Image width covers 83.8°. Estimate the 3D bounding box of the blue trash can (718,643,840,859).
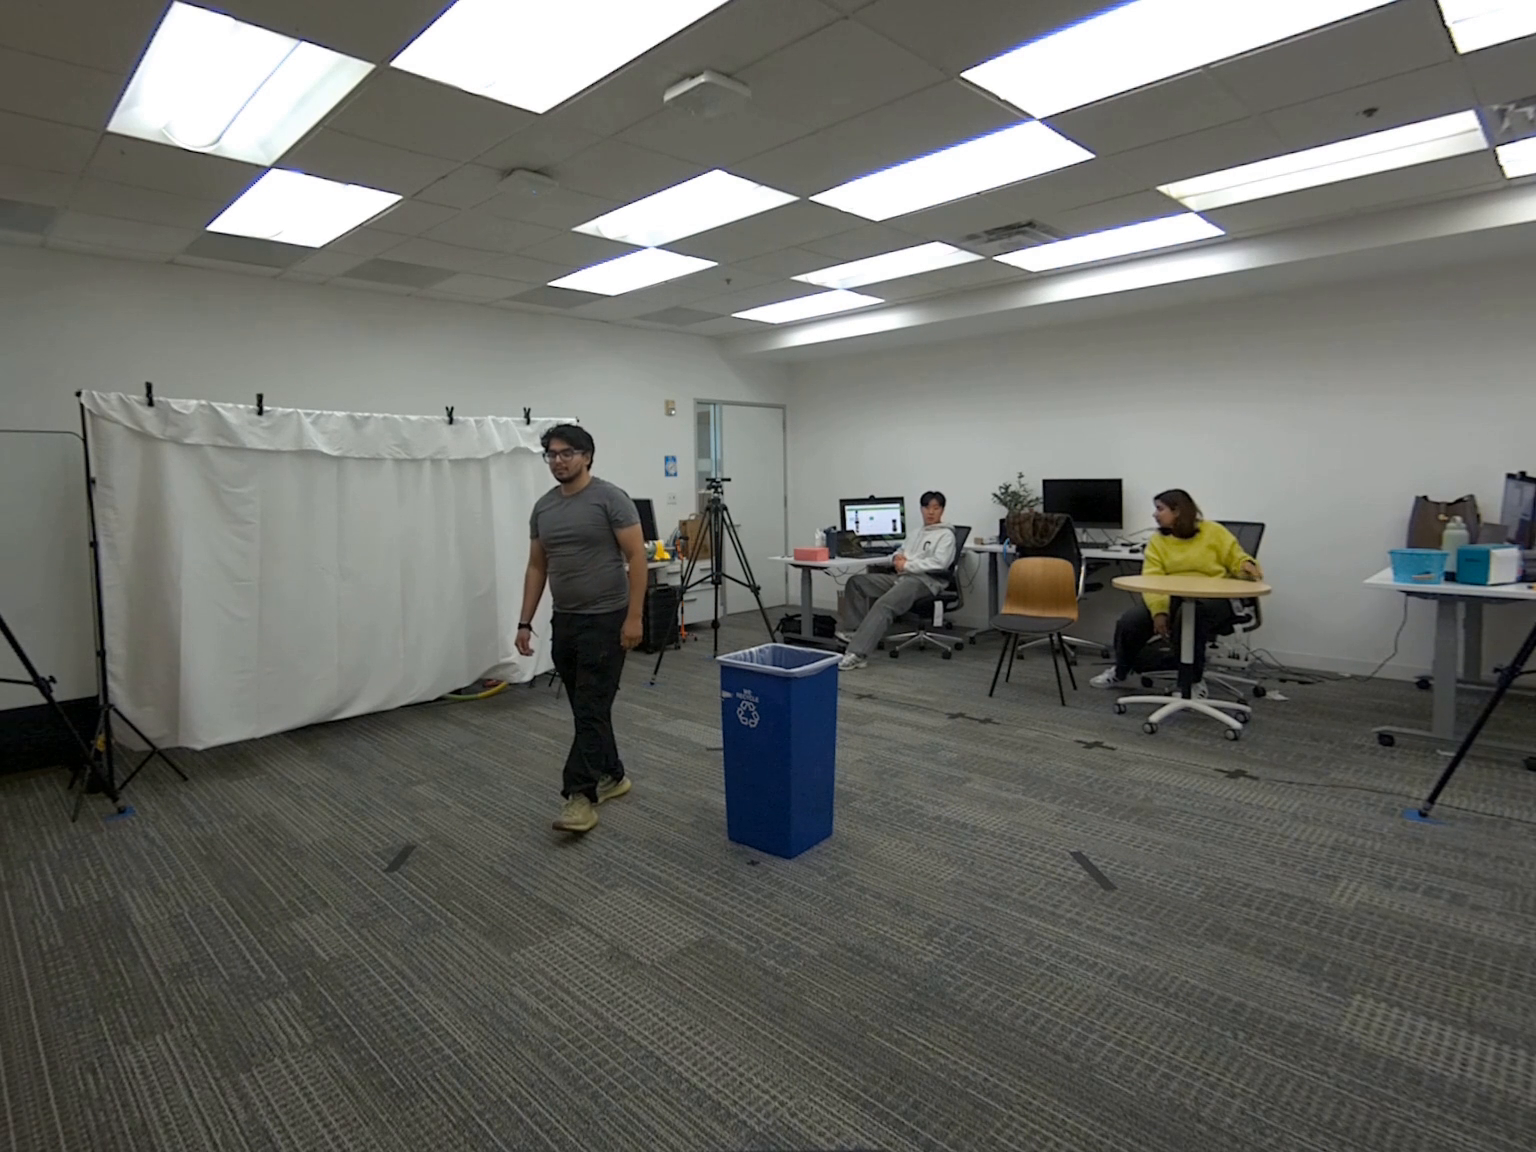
[{"bbox_3d":[0.055,0.661,3.300,0.385,0.711,0.368,2,5,38],"label":"blue trash can"}]
